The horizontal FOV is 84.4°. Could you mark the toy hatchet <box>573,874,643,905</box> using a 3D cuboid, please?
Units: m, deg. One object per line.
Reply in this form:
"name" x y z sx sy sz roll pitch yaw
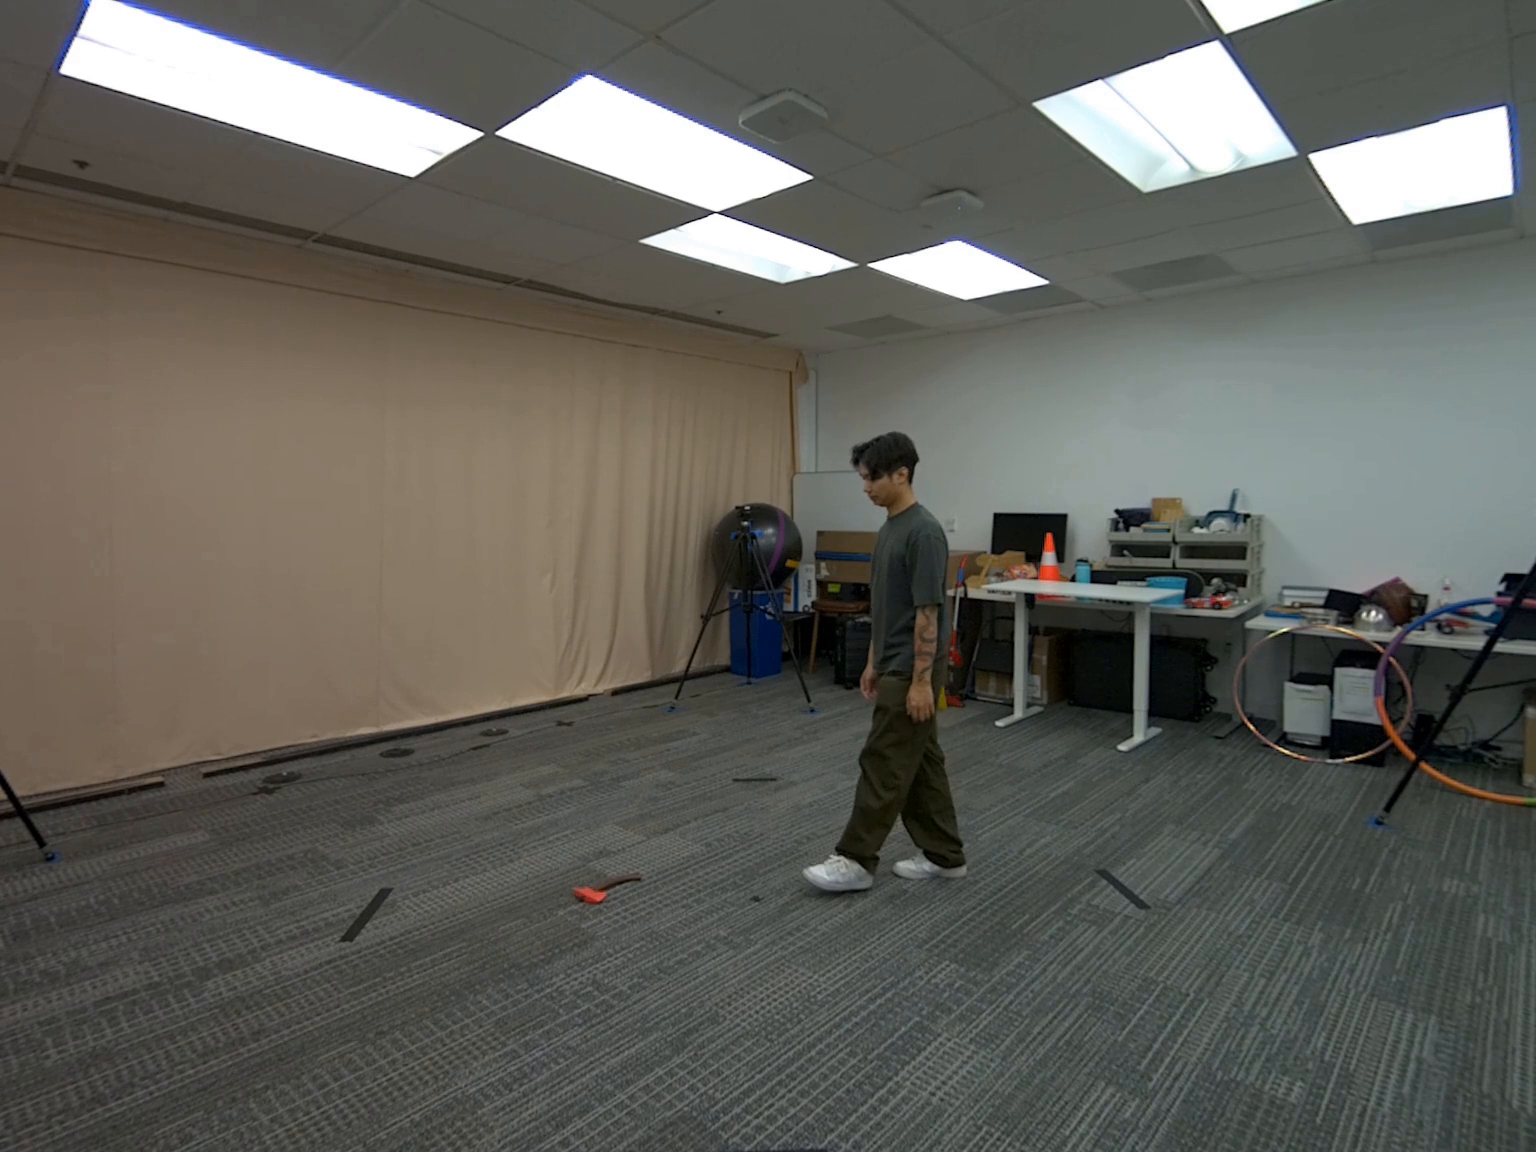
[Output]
"toy hatchet" -0.565 1.134 3.045 0.262 0.029 0.135 -2 4 -33
